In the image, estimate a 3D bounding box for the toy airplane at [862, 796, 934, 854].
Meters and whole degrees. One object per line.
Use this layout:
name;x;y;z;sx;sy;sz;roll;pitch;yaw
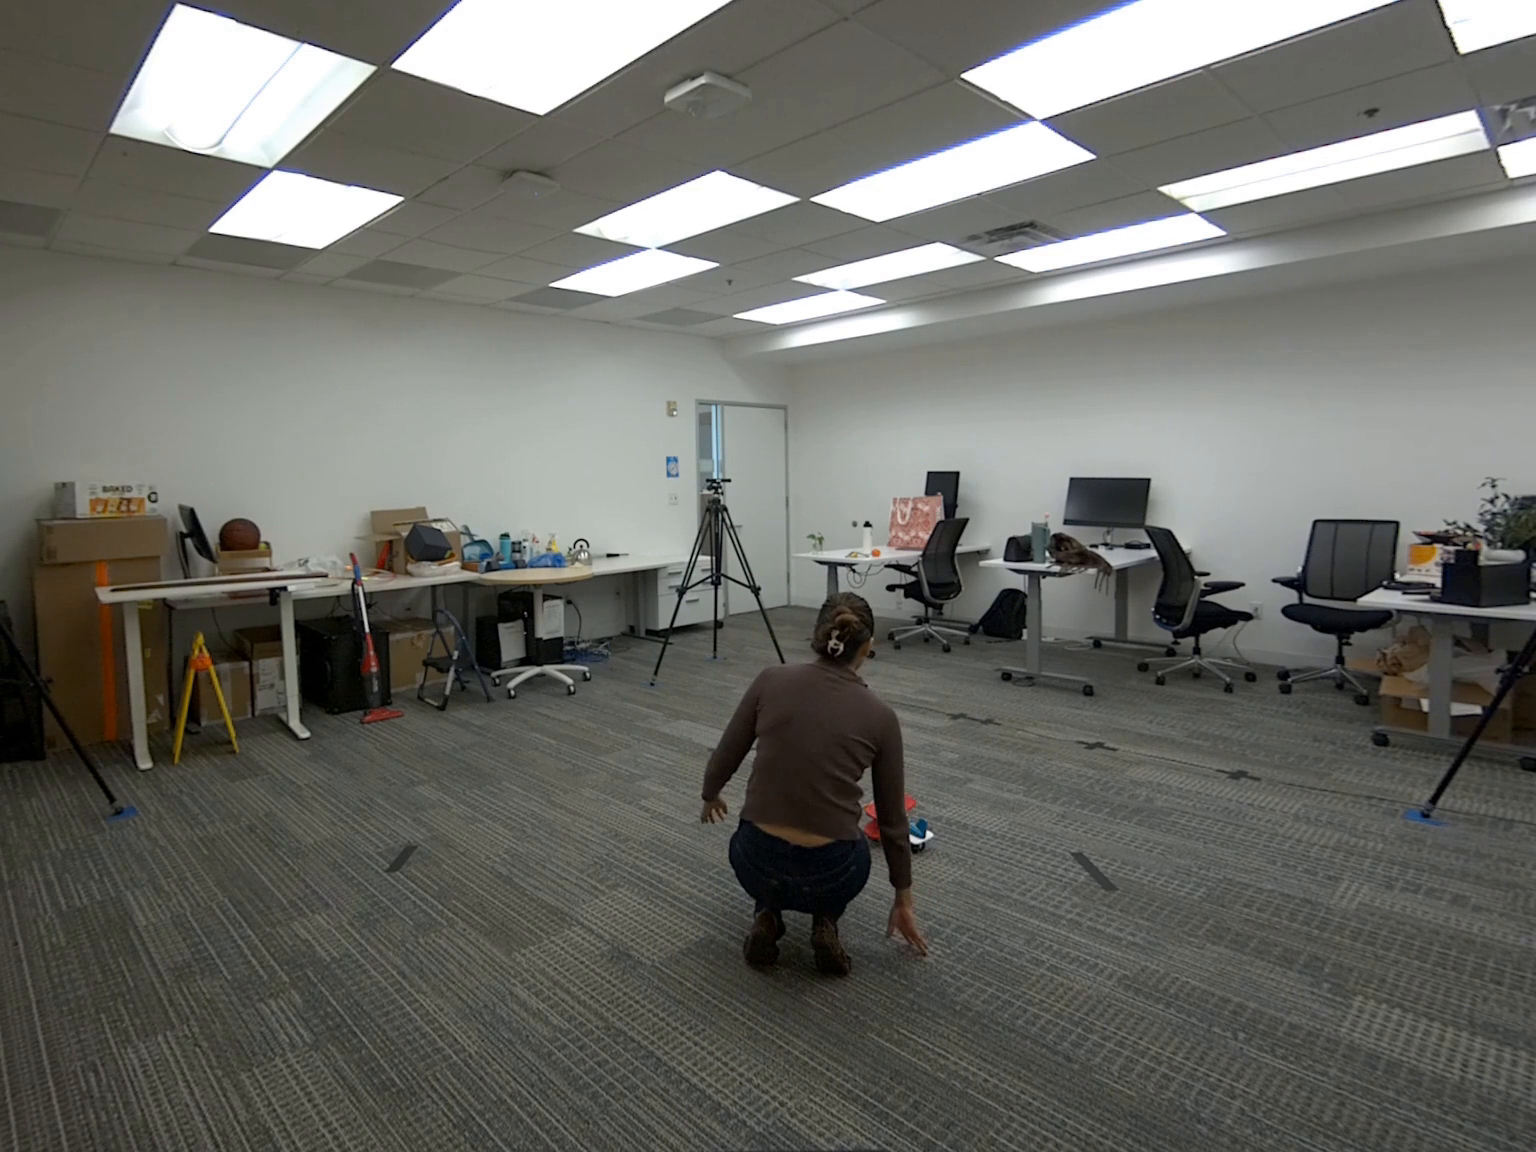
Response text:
toy airplane;0.507;0.945;3.261;0.264;0.156;0.247;-1;4;20
